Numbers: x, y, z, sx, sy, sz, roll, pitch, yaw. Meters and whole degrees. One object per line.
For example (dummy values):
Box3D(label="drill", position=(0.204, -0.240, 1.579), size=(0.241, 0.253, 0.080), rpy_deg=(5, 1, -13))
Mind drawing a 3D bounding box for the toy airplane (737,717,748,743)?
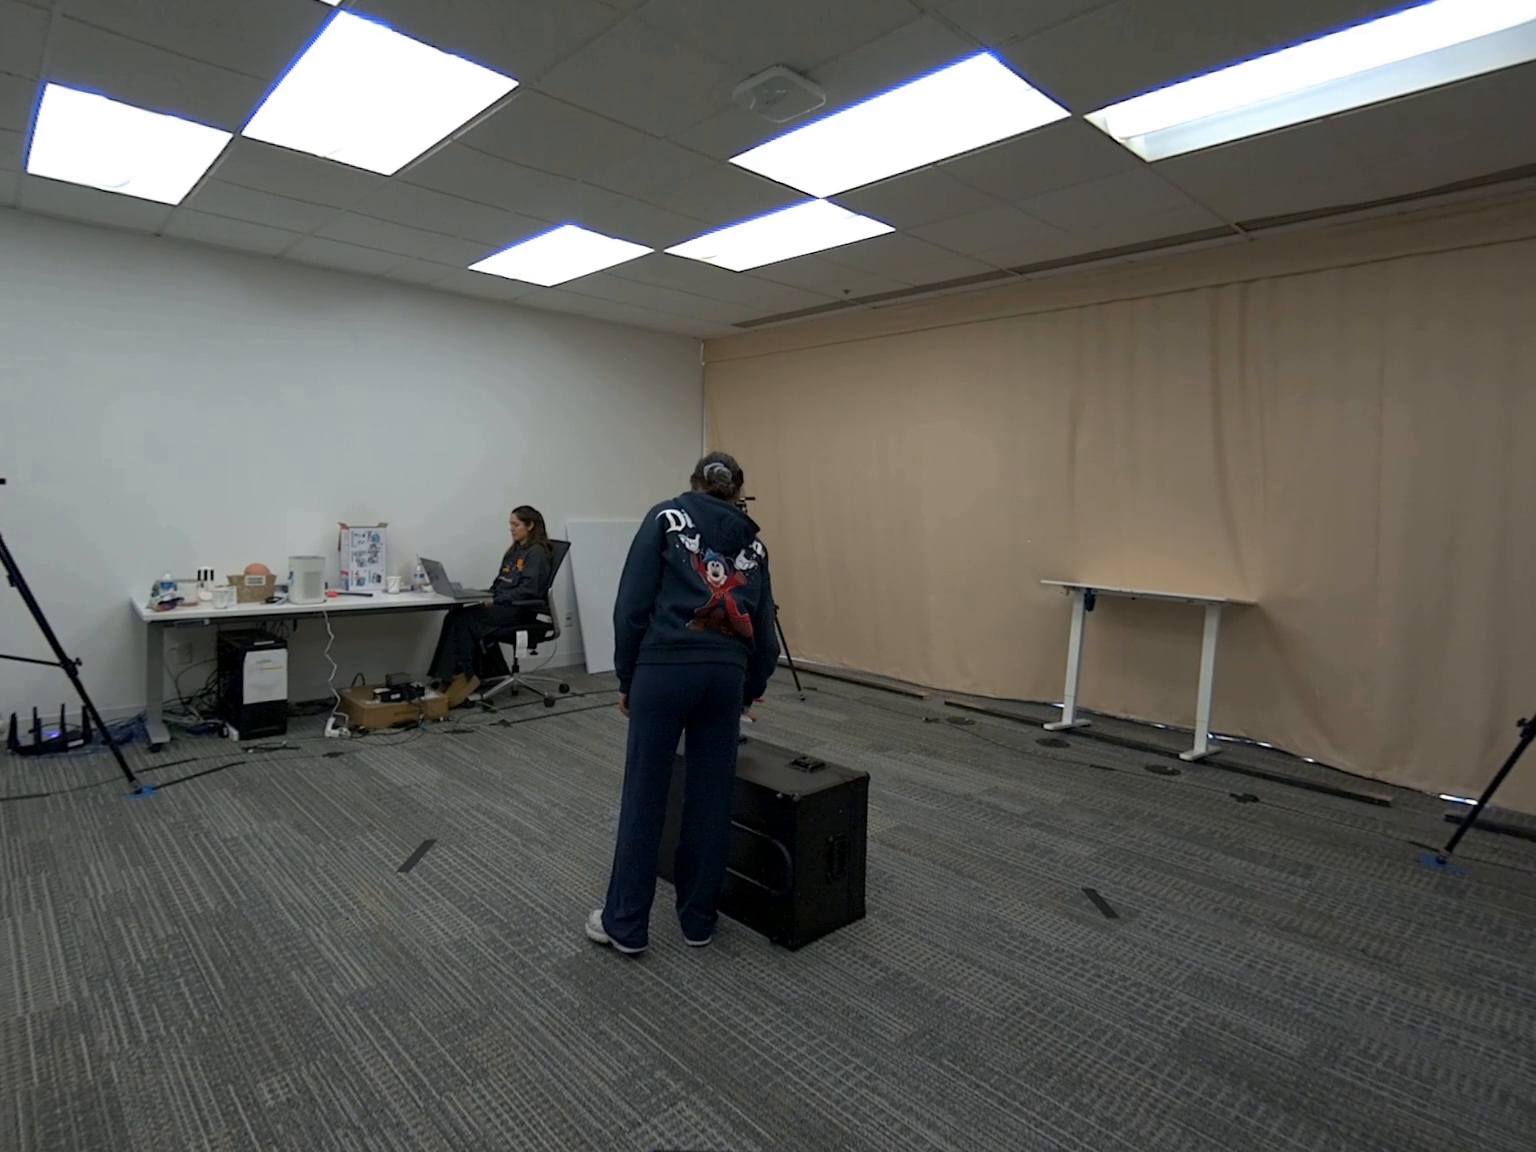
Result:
Box3D(label="toy airplane", position=(-0.140, 0.464, 2.962), size=(0.243, 0.157, 0.266), rpy_deg=(22, -9, -42))
